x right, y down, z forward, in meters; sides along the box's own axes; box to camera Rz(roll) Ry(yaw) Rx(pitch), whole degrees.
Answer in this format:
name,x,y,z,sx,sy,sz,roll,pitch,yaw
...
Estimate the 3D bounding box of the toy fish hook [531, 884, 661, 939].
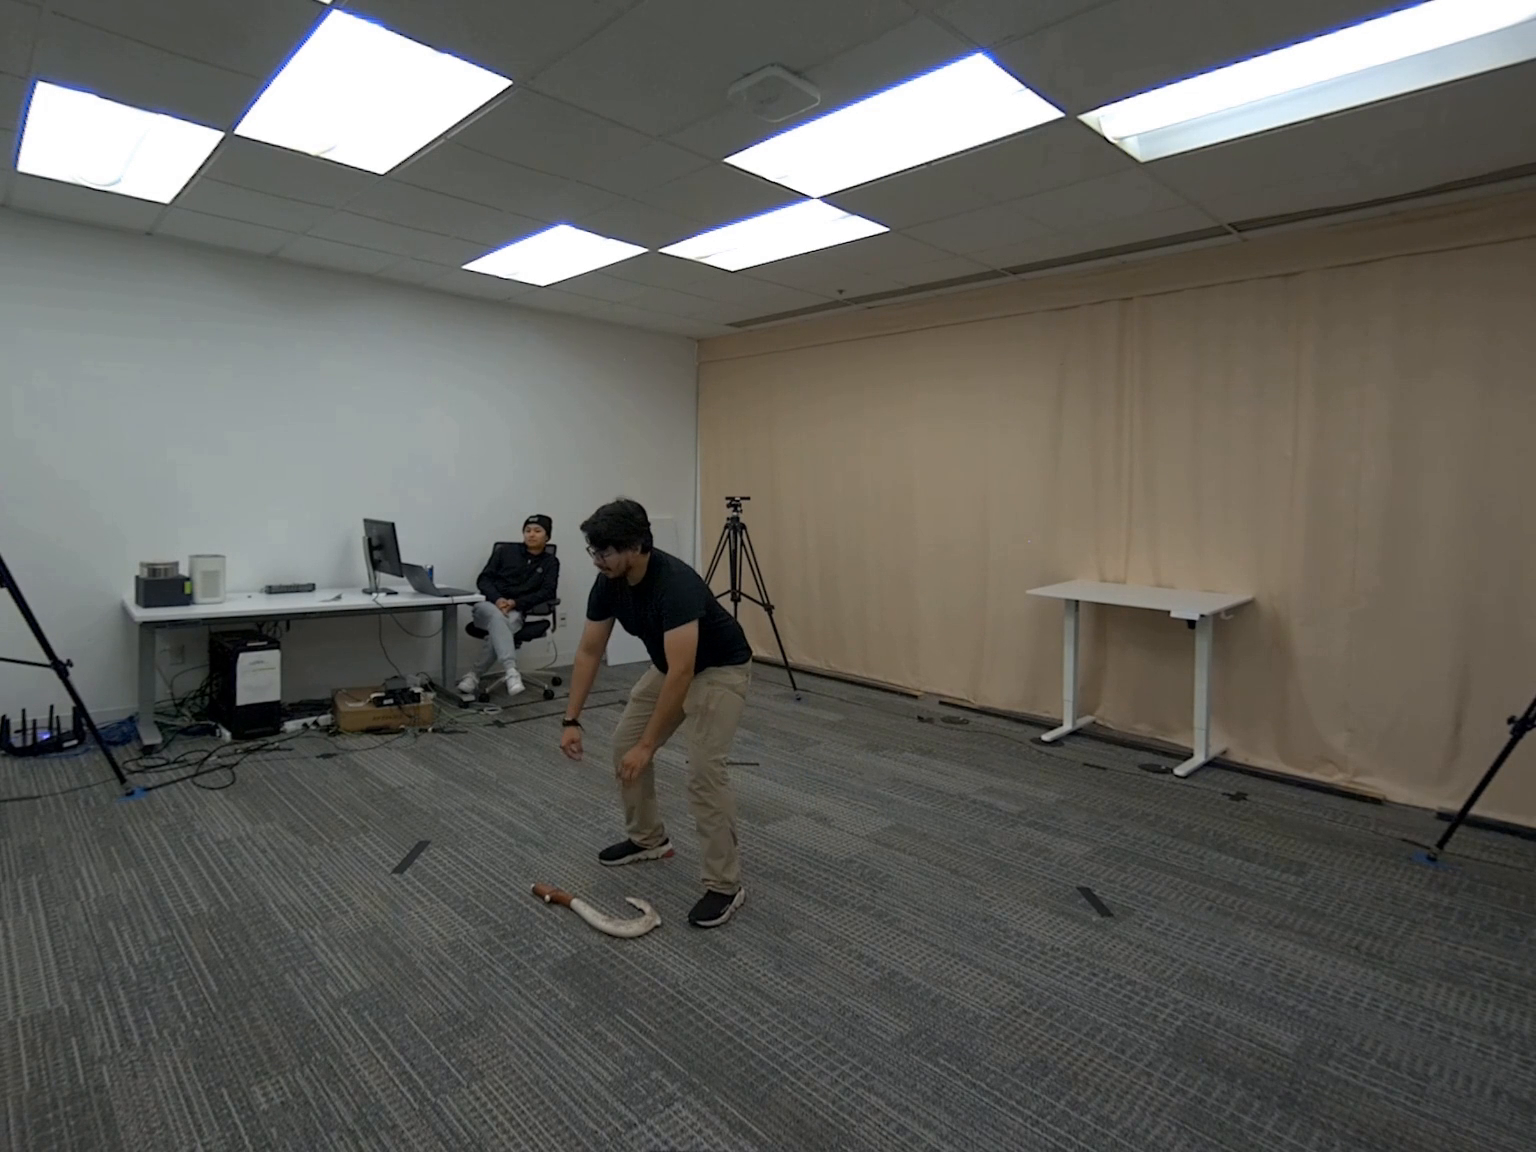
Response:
name,x,y,z,sx,sy,sz,roll,pitch,yaw
toy fish hook,-0.586,1.103,2.837,0.519,0.048,0.219,7,0,35
